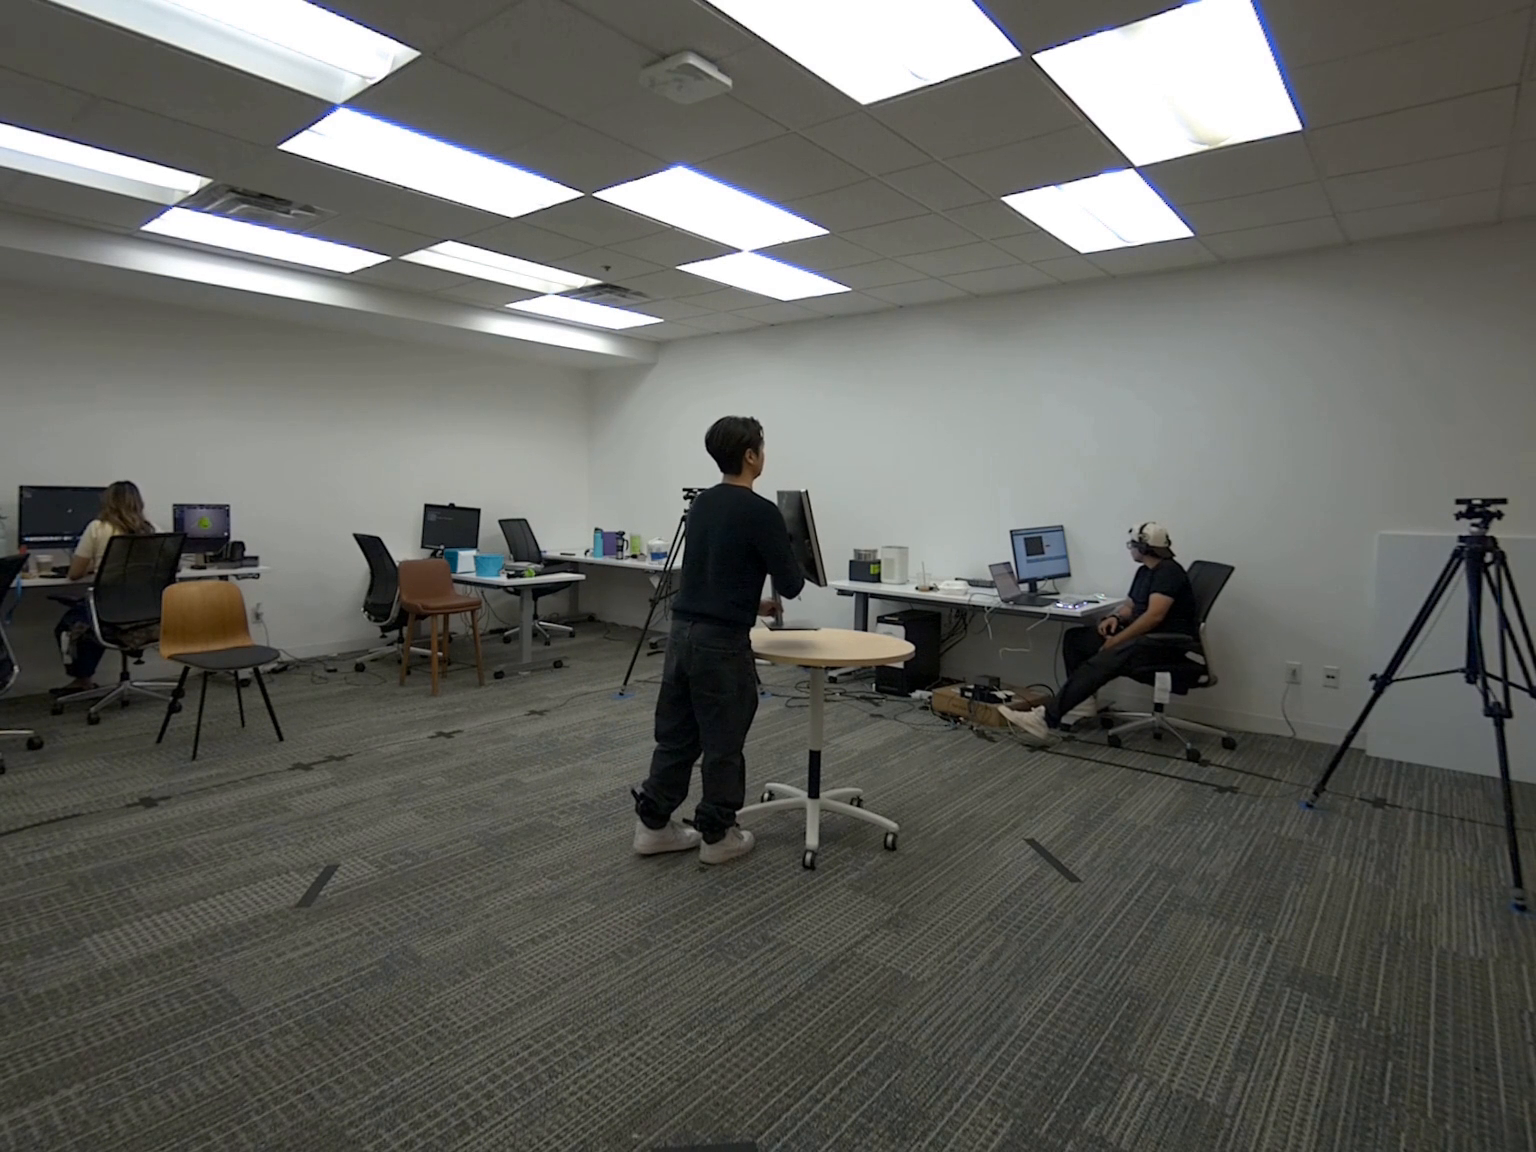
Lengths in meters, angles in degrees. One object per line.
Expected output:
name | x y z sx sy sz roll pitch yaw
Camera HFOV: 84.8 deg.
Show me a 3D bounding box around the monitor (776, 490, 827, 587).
monitor | 0.086 -0.067 3.351 0.173 0.515 0.537 5 3 -10
